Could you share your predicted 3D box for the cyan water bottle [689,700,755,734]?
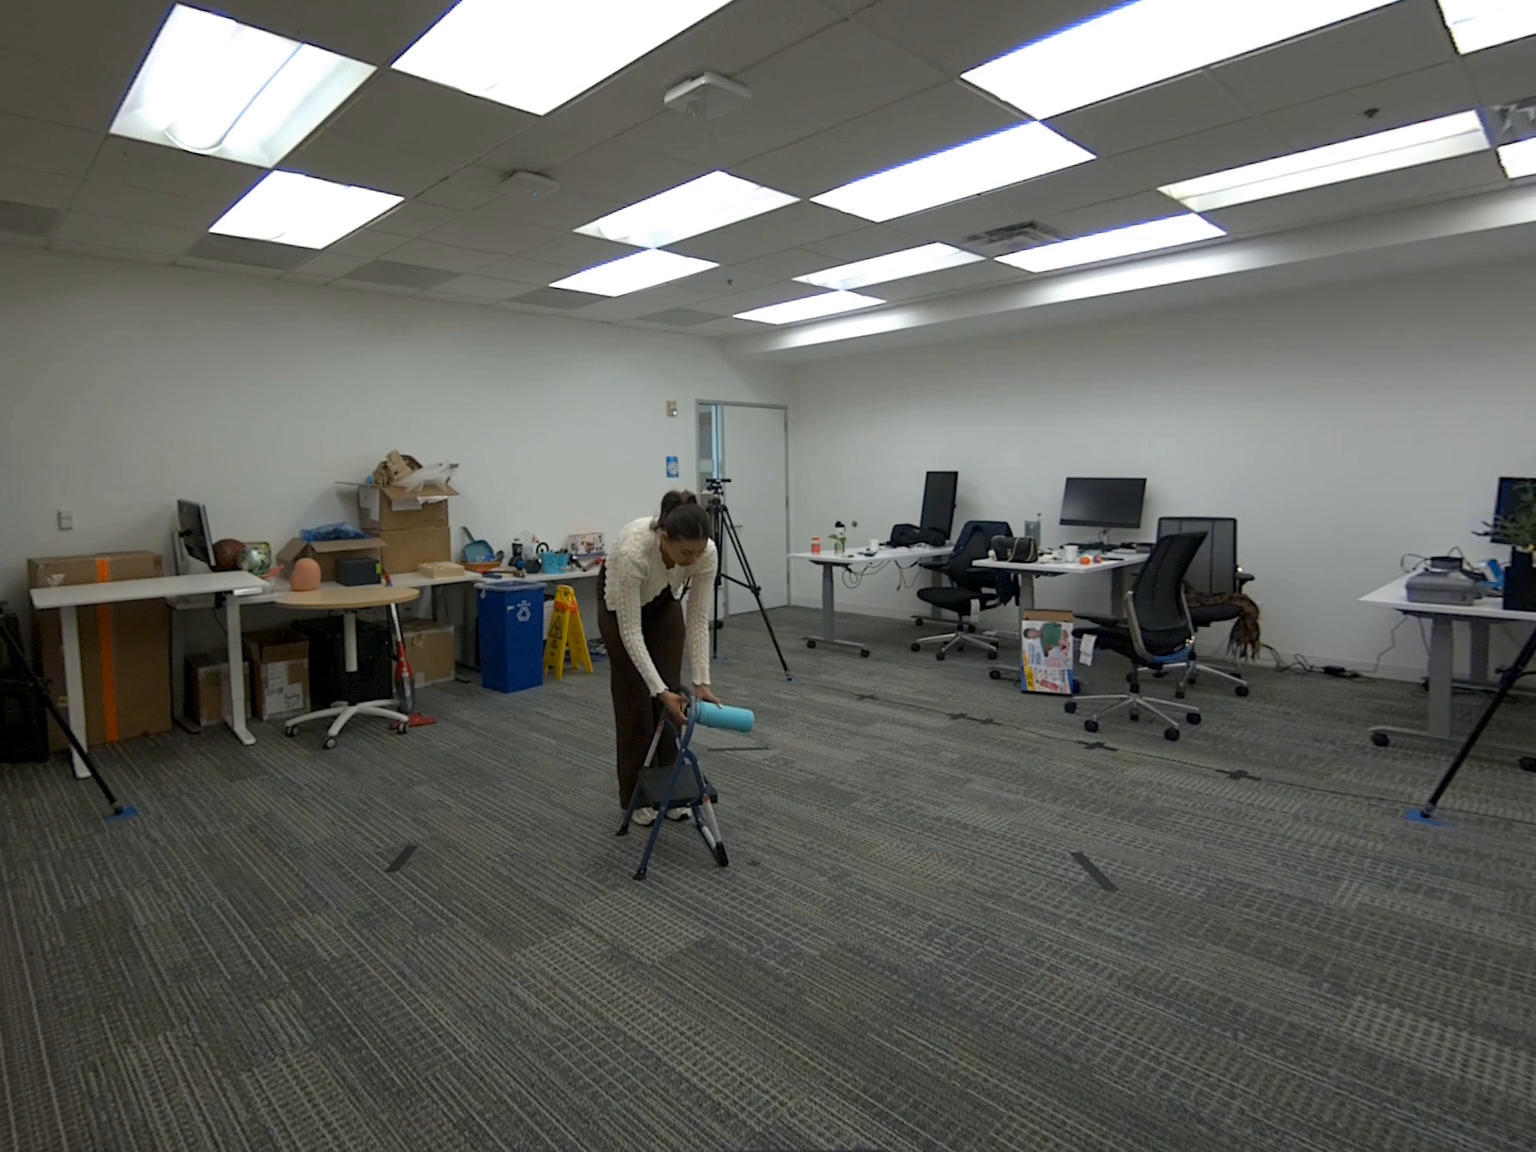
[{"bbox_3d":[-0.199,0.541,3.324,0.277,0.092,0.094,13,-1,-20],"label":"cyan water bottle"}]
